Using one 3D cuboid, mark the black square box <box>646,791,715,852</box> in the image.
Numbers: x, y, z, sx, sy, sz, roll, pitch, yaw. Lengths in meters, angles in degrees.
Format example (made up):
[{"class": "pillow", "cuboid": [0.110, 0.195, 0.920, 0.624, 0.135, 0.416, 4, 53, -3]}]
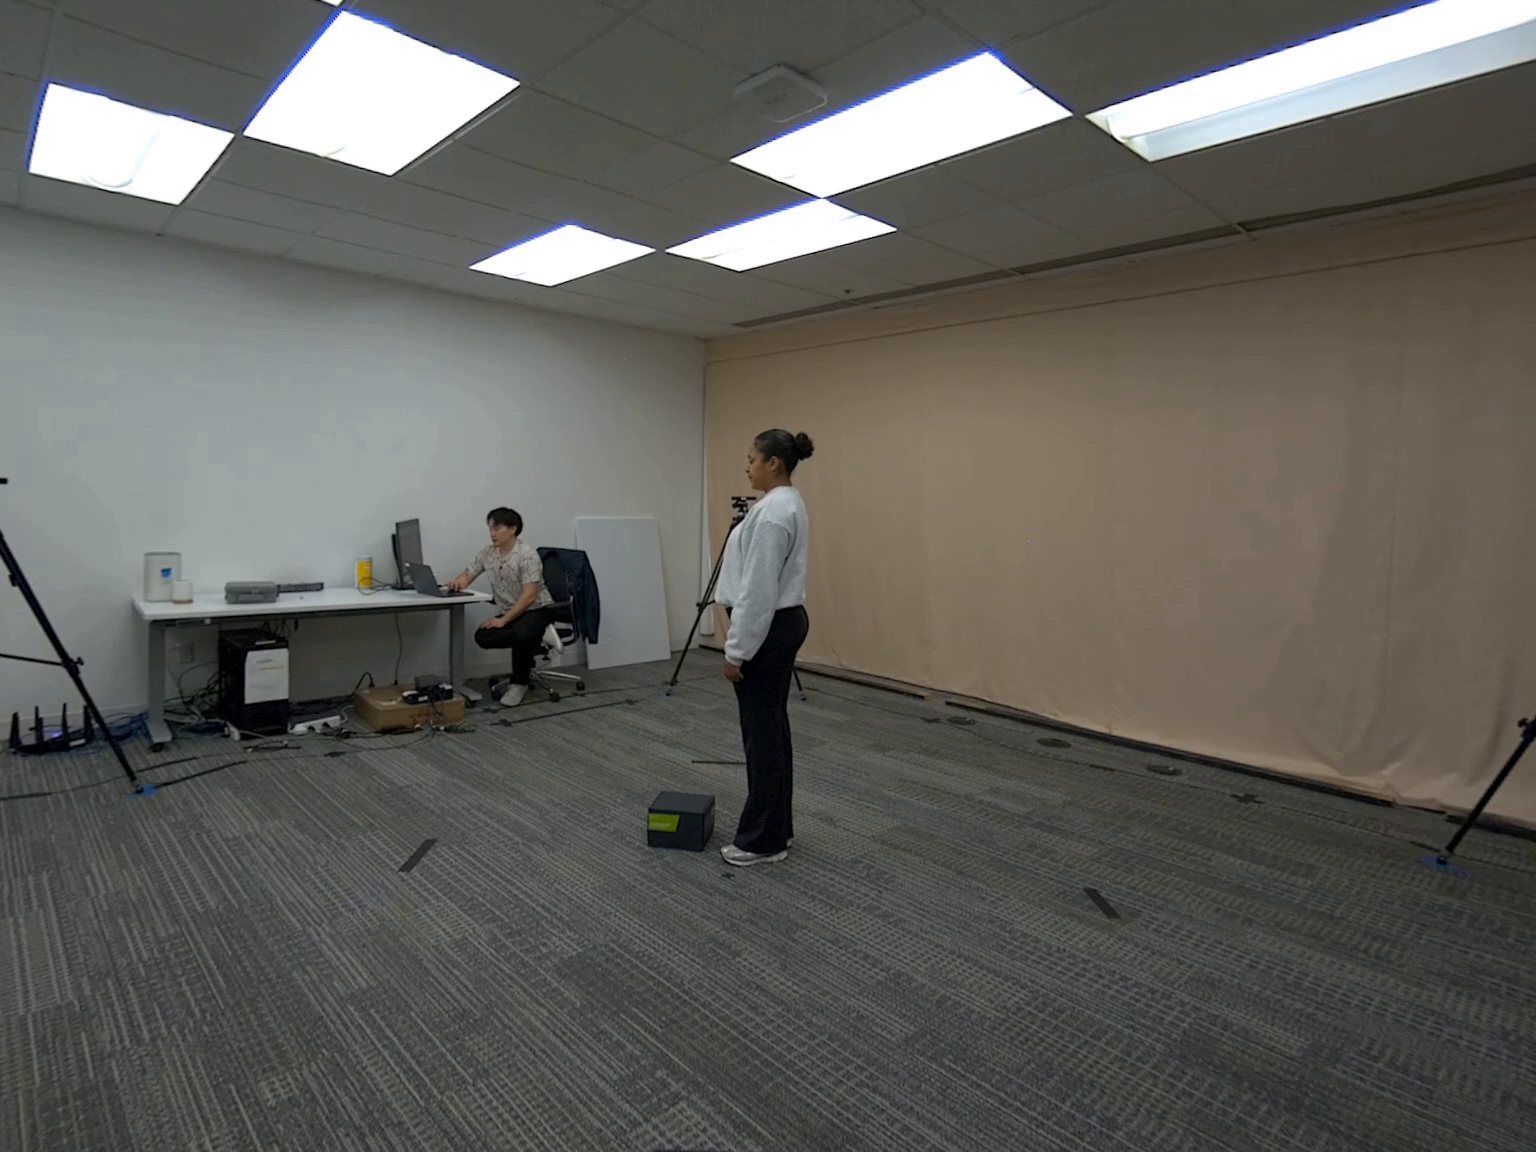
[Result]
[{"class": "black square box", "cuboid": [-0.355, 0.980, 3.424, 0.230, 0.155, 0.216, 2, 4, 9]}]
